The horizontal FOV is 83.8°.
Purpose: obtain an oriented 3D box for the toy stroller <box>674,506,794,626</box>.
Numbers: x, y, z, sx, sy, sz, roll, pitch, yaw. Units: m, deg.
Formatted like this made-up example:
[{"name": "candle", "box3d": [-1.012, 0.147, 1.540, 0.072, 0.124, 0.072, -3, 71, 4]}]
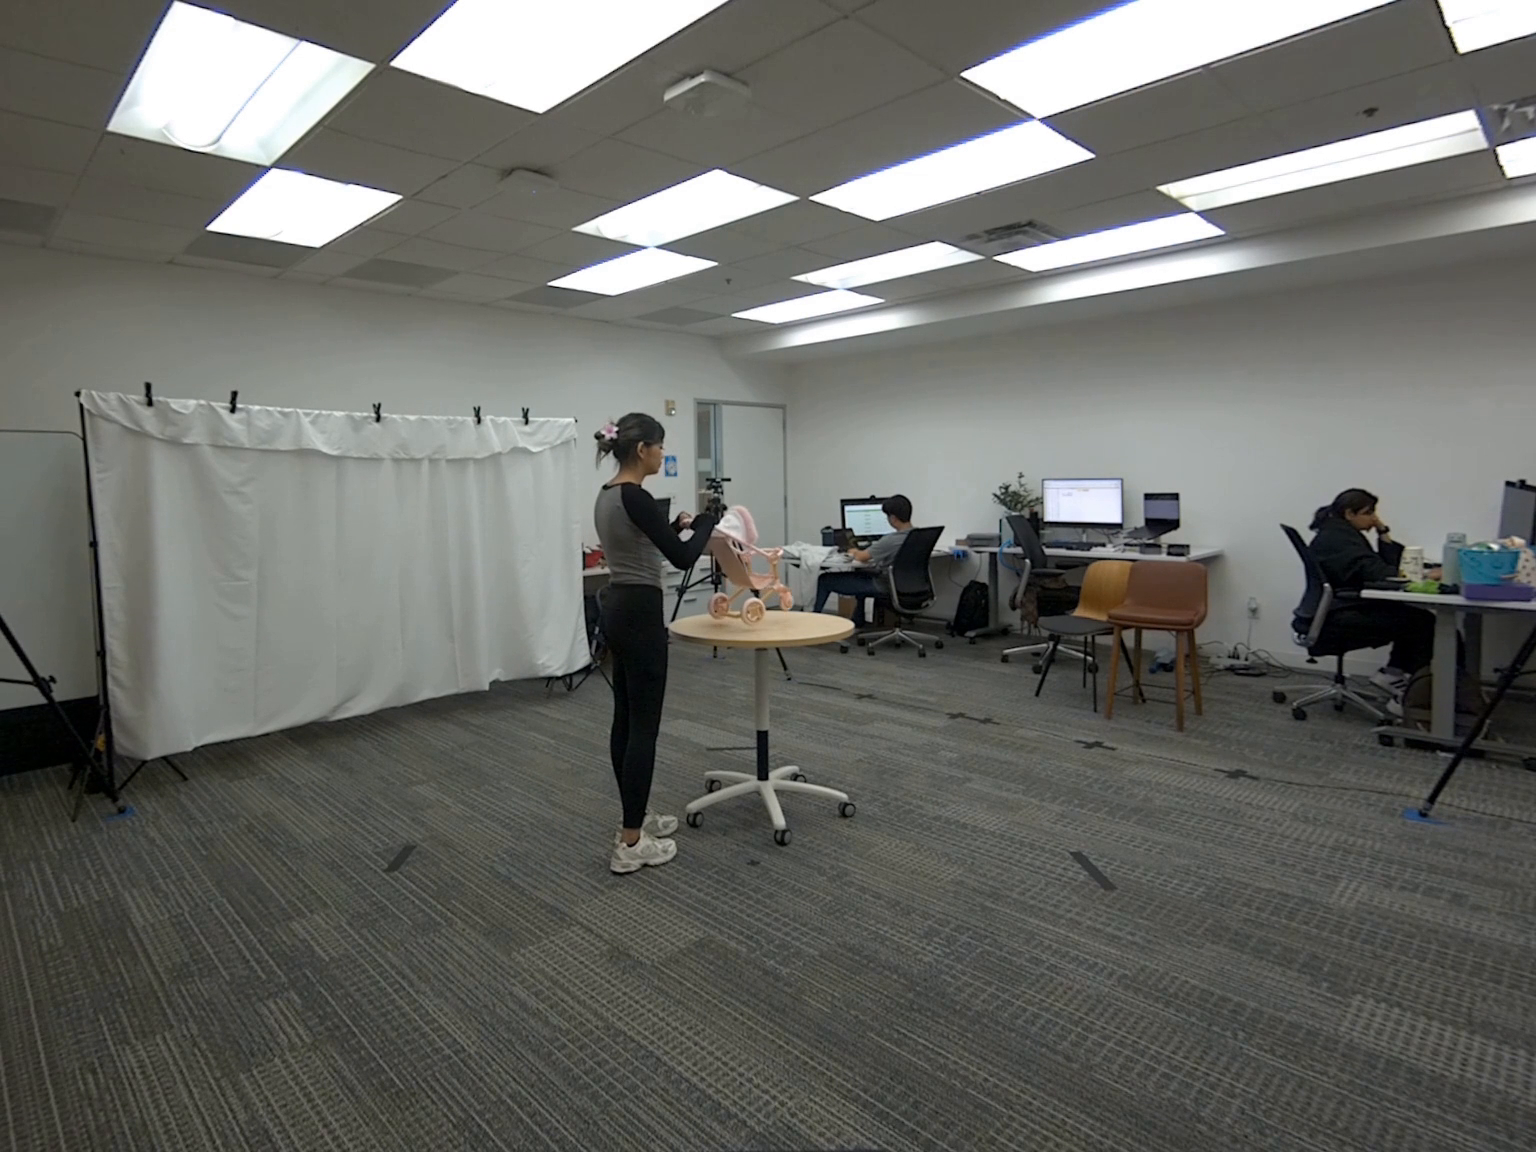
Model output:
[{"name": "toy stroller", "box3d": [-0.091, -0.047, 3.466, 0.337, 0.527, 0.289, -25, 14, -26]}]
